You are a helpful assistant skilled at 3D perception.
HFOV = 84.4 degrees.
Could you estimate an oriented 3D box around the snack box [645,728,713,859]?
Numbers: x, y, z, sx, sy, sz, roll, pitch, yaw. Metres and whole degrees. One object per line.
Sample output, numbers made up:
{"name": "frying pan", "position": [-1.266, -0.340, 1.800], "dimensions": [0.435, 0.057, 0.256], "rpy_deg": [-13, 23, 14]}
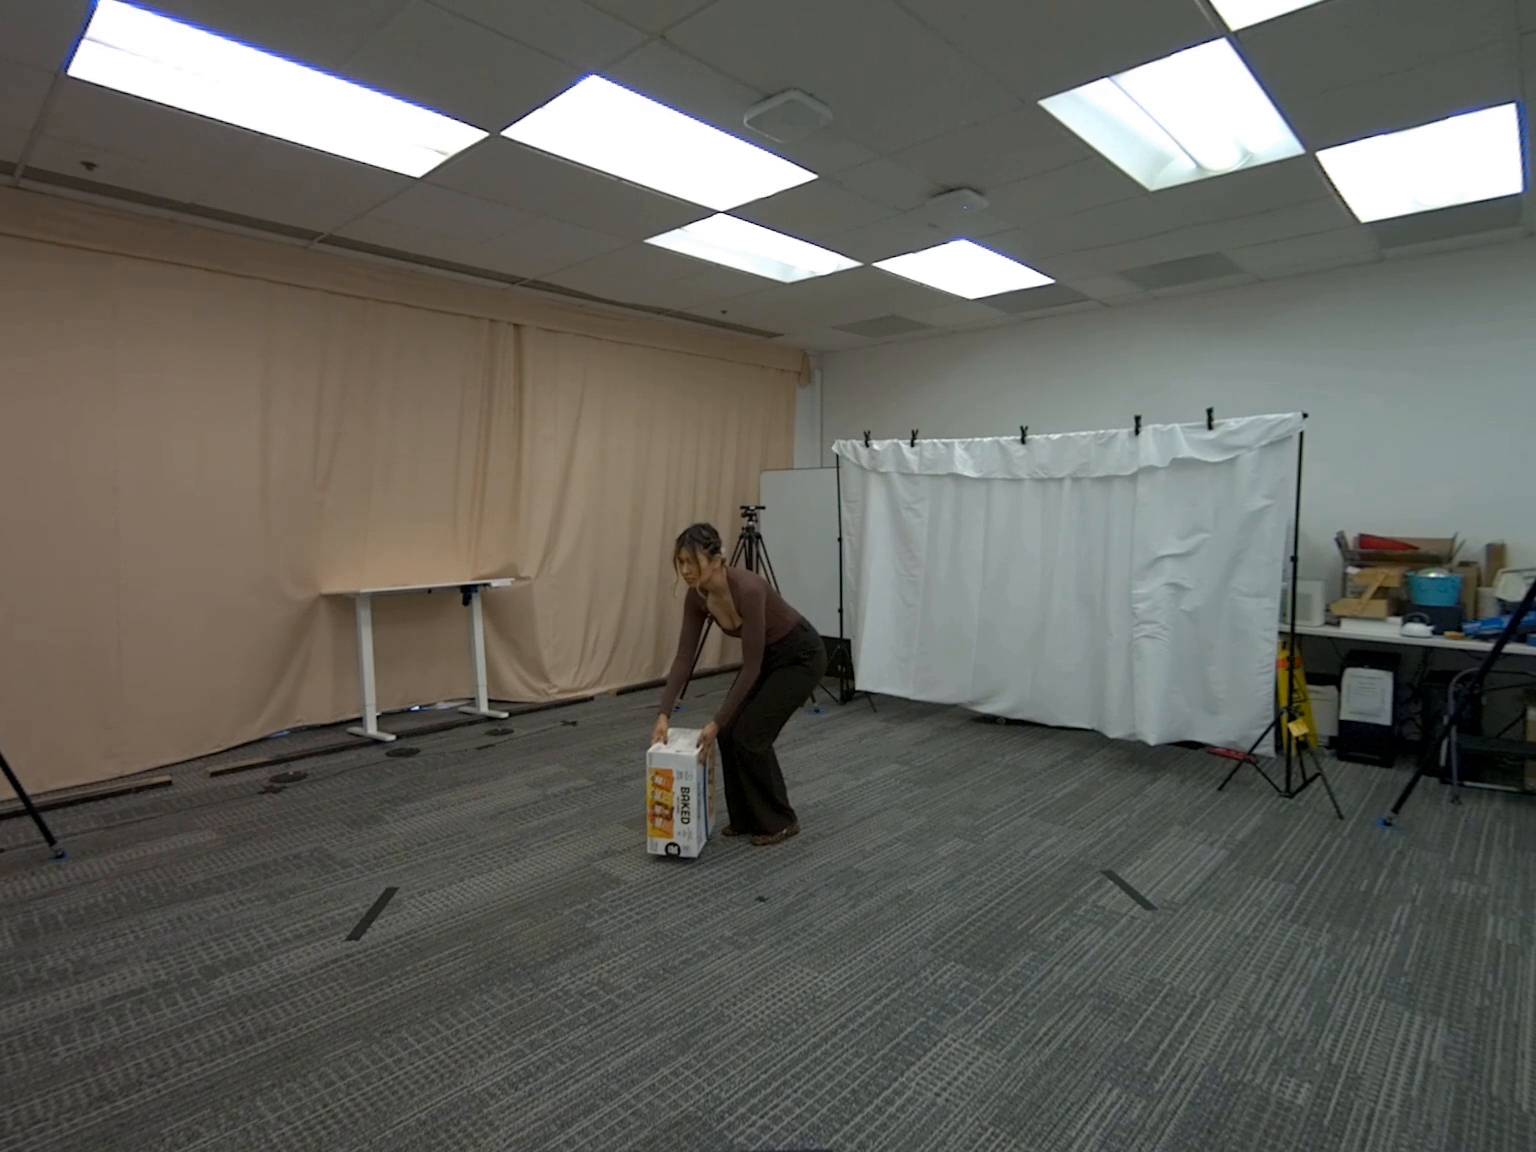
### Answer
{"name": "snack box", "position": [-0.348, 0.864, 3.415], "dimensions": [0.208, 0.404, 0.337], "rpy_deg": [0, 4, 10]}
